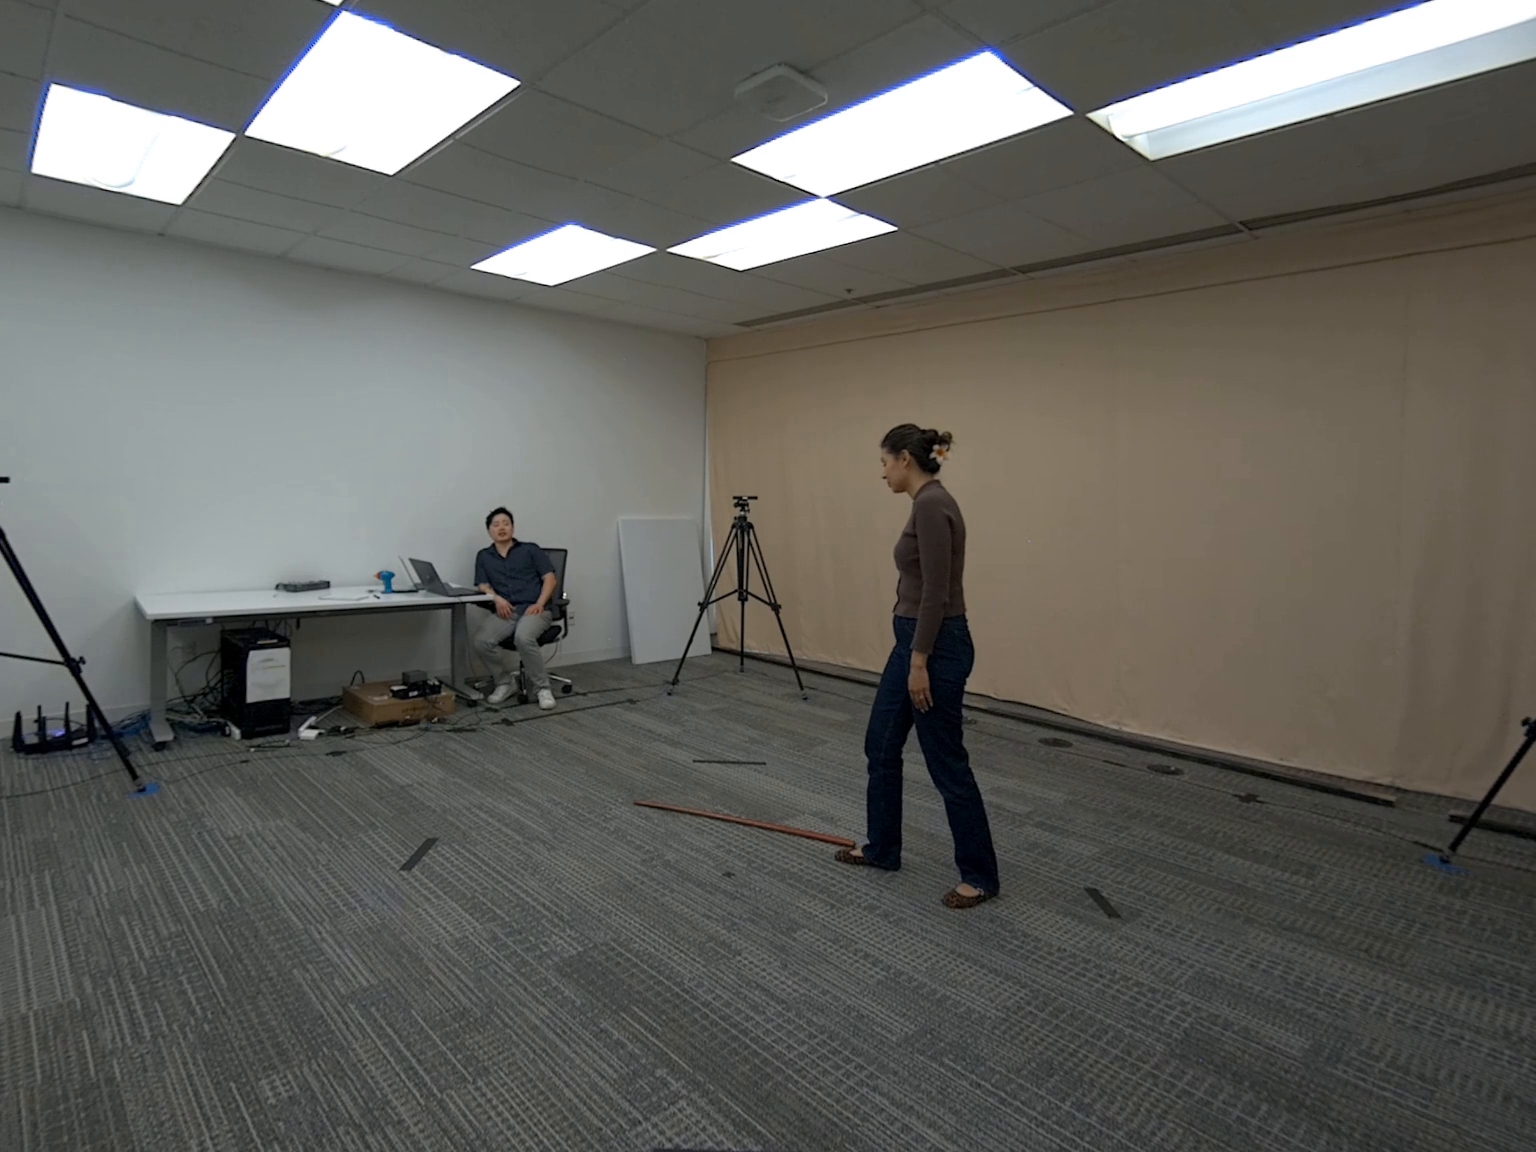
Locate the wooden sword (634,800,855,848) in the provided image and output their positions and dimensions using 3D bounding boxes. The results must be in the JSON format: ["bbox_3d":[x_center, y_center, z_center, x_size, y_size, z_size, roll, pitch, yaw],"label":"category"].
[{"bbox_3d":[-0.130,1.035,3.592,1.044,0.024,0.051,3,17,24],"label":"wooden sword"}]
